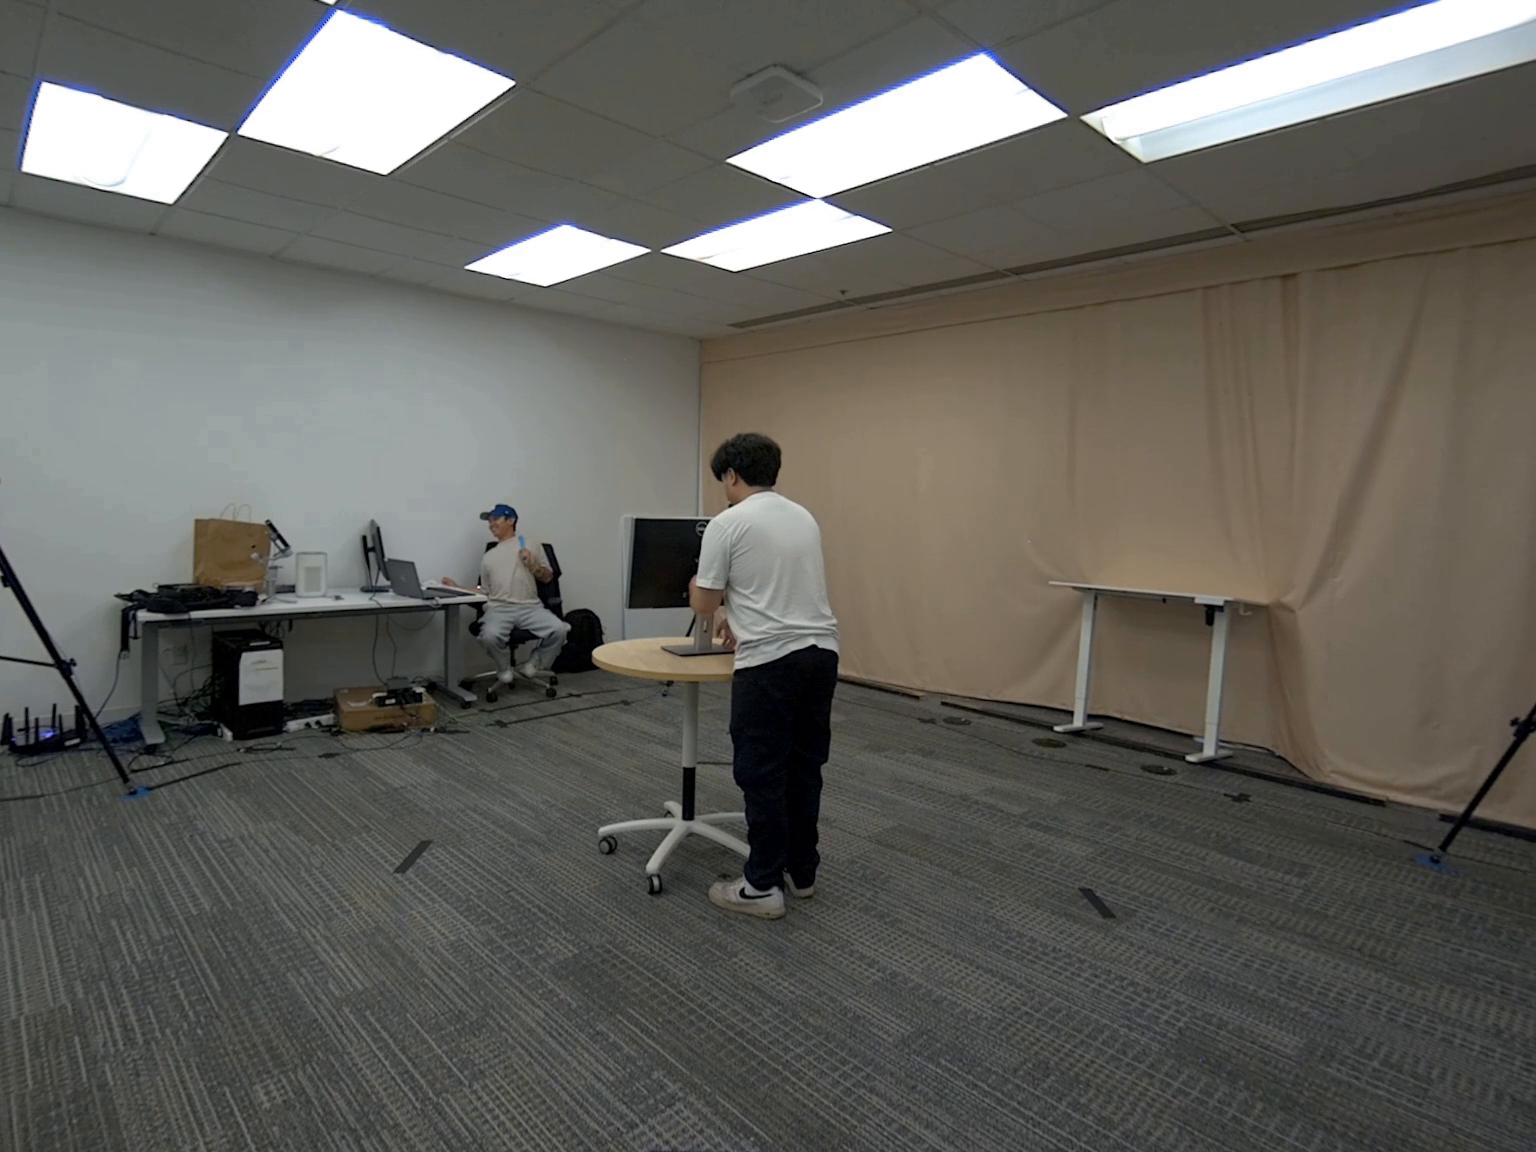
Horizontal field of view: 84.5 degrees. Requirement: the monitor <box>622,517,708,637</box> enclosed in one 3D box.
[{"bbox_3d":[-0.262,0.047,3.272,0.554,0.551,0.215,-1,7,-29],"label":"monitor"}]
